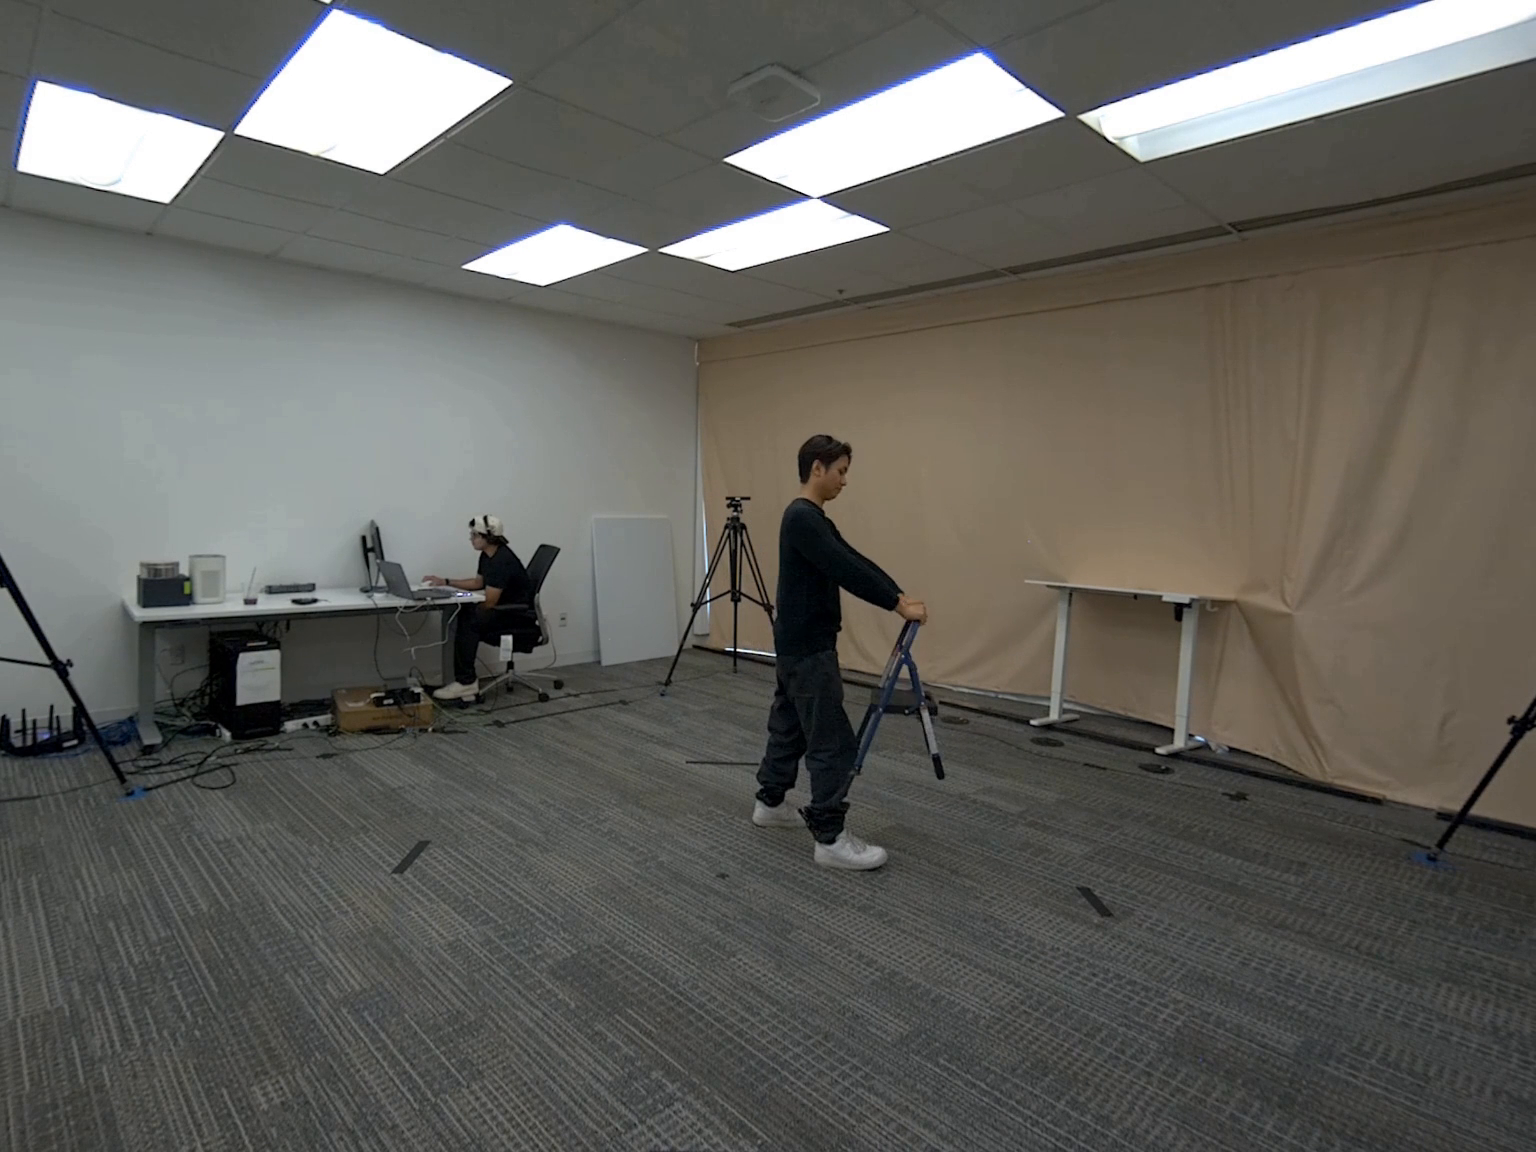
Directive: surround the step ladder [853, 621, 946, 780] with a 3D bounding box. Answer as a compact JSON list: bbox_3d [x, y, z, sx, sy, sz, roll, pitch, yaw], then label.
[{"bbox_3d":[0.490,0.435,3.290,0.351,0.607,0.427,0,-1,6],"label":"step ladder"}]
